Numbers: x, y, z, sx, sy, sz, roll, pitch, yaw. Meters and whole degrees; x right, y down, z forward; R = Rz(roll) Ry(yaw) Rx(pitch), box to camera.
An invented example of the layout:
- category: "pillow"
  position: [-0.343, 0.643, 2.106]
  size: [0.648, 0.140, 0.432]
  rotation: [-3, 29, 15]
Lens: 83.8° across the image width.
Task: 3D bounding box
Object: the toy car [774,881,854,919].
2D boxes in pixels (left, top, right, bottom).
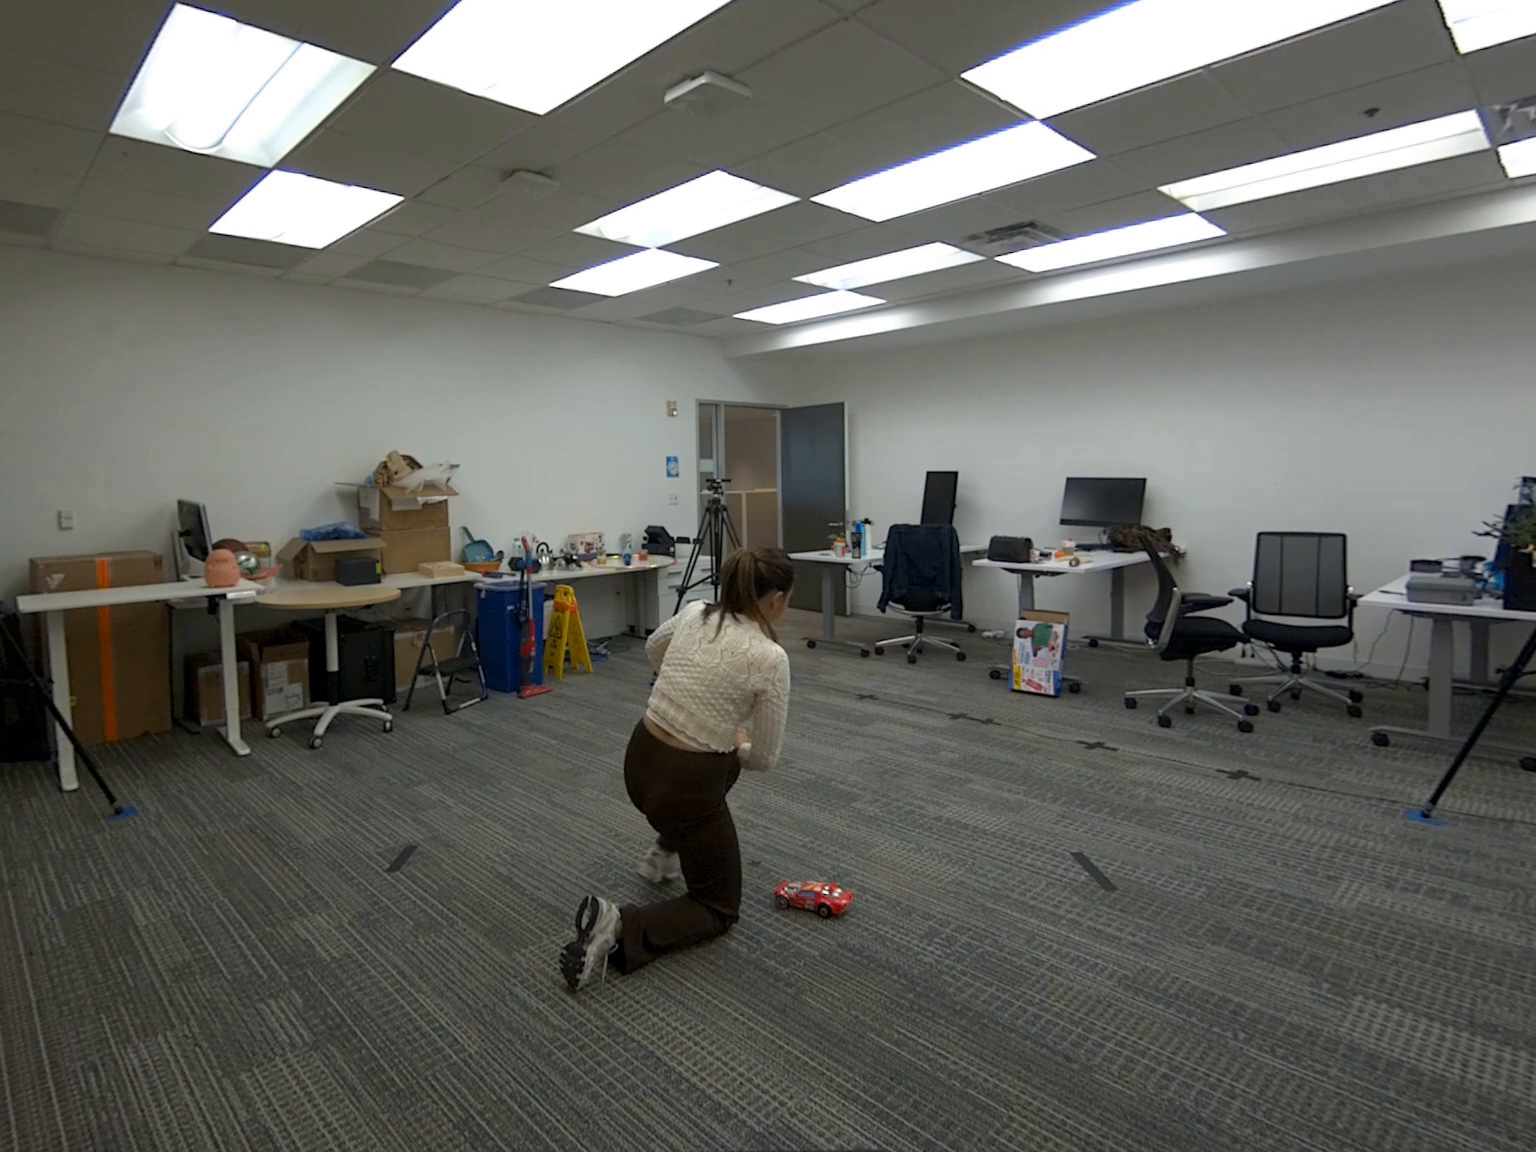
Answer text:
- category: "toy car"
  position: [0.163, 1.045, 2.776]
  size: [0.259, 0.083, 0.128]
  rotation: [-10, 1, 26]
